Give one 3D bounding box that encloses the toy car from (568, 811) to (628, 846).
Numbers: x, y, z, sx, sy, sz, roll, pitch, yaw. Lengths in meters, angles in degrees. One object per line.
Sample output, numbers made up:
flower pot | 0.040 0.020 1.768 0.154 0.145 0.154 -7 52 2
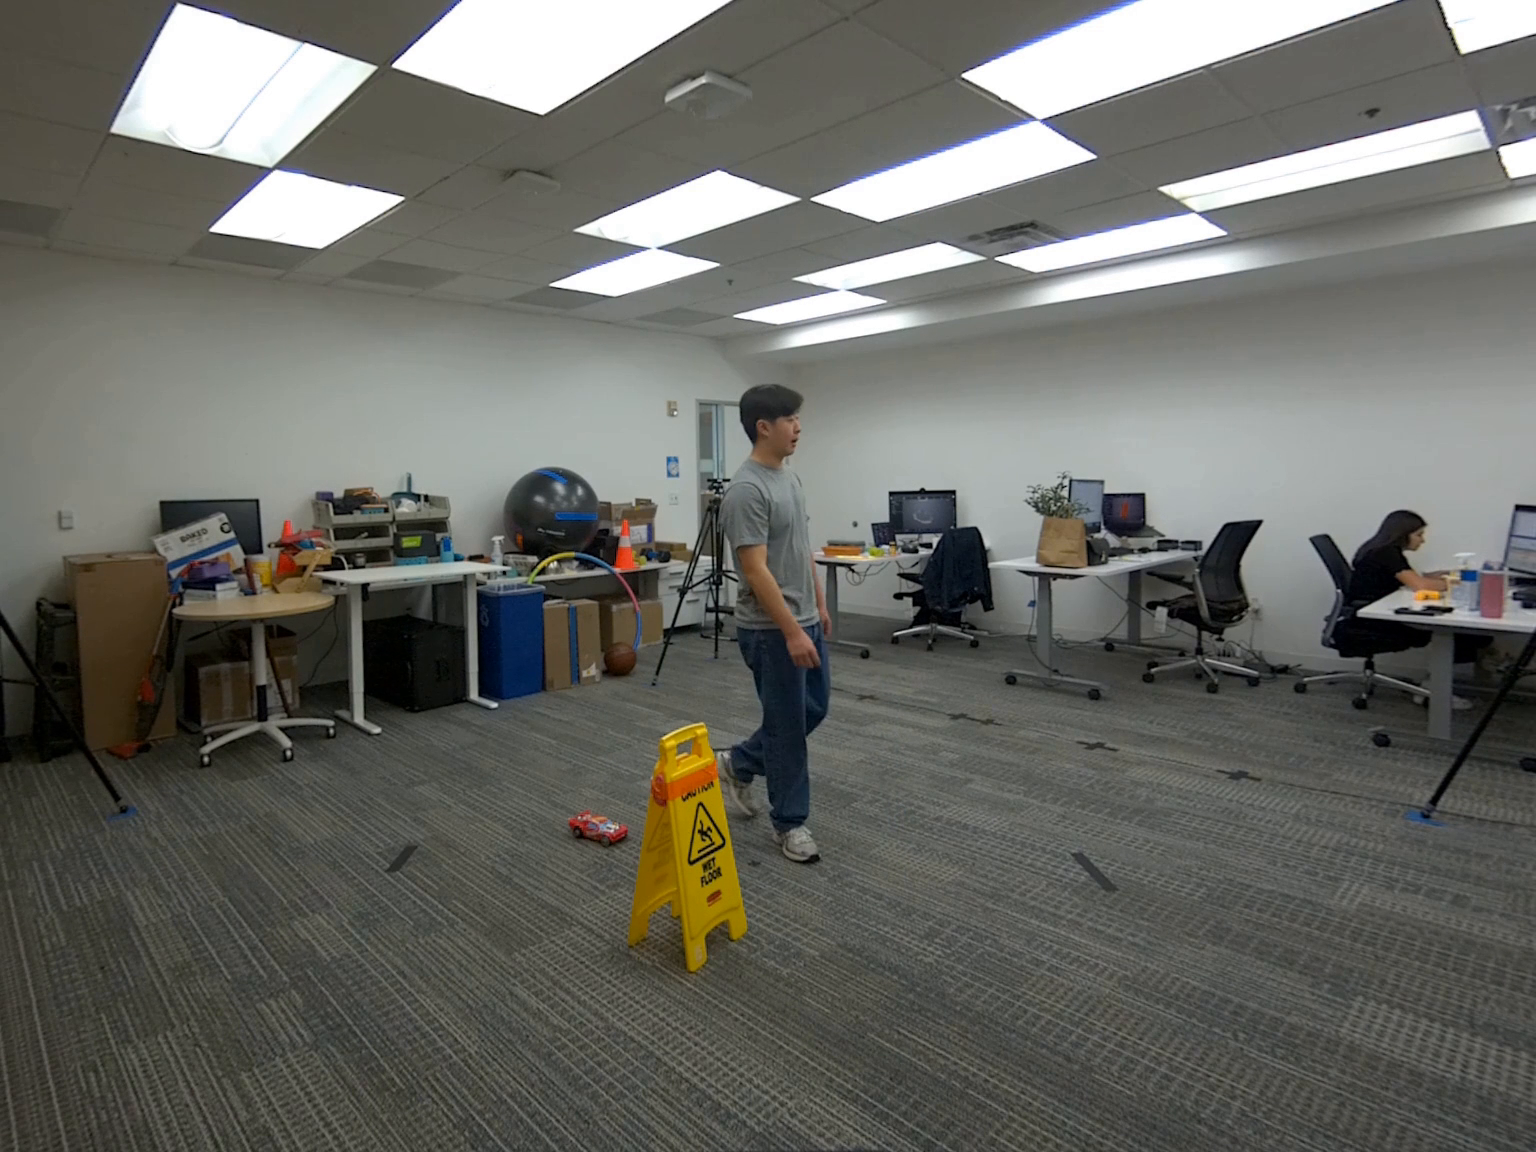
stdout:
toy car | -0.672 0.996 3.370 0.262 0.082 0.127 14 13 31
